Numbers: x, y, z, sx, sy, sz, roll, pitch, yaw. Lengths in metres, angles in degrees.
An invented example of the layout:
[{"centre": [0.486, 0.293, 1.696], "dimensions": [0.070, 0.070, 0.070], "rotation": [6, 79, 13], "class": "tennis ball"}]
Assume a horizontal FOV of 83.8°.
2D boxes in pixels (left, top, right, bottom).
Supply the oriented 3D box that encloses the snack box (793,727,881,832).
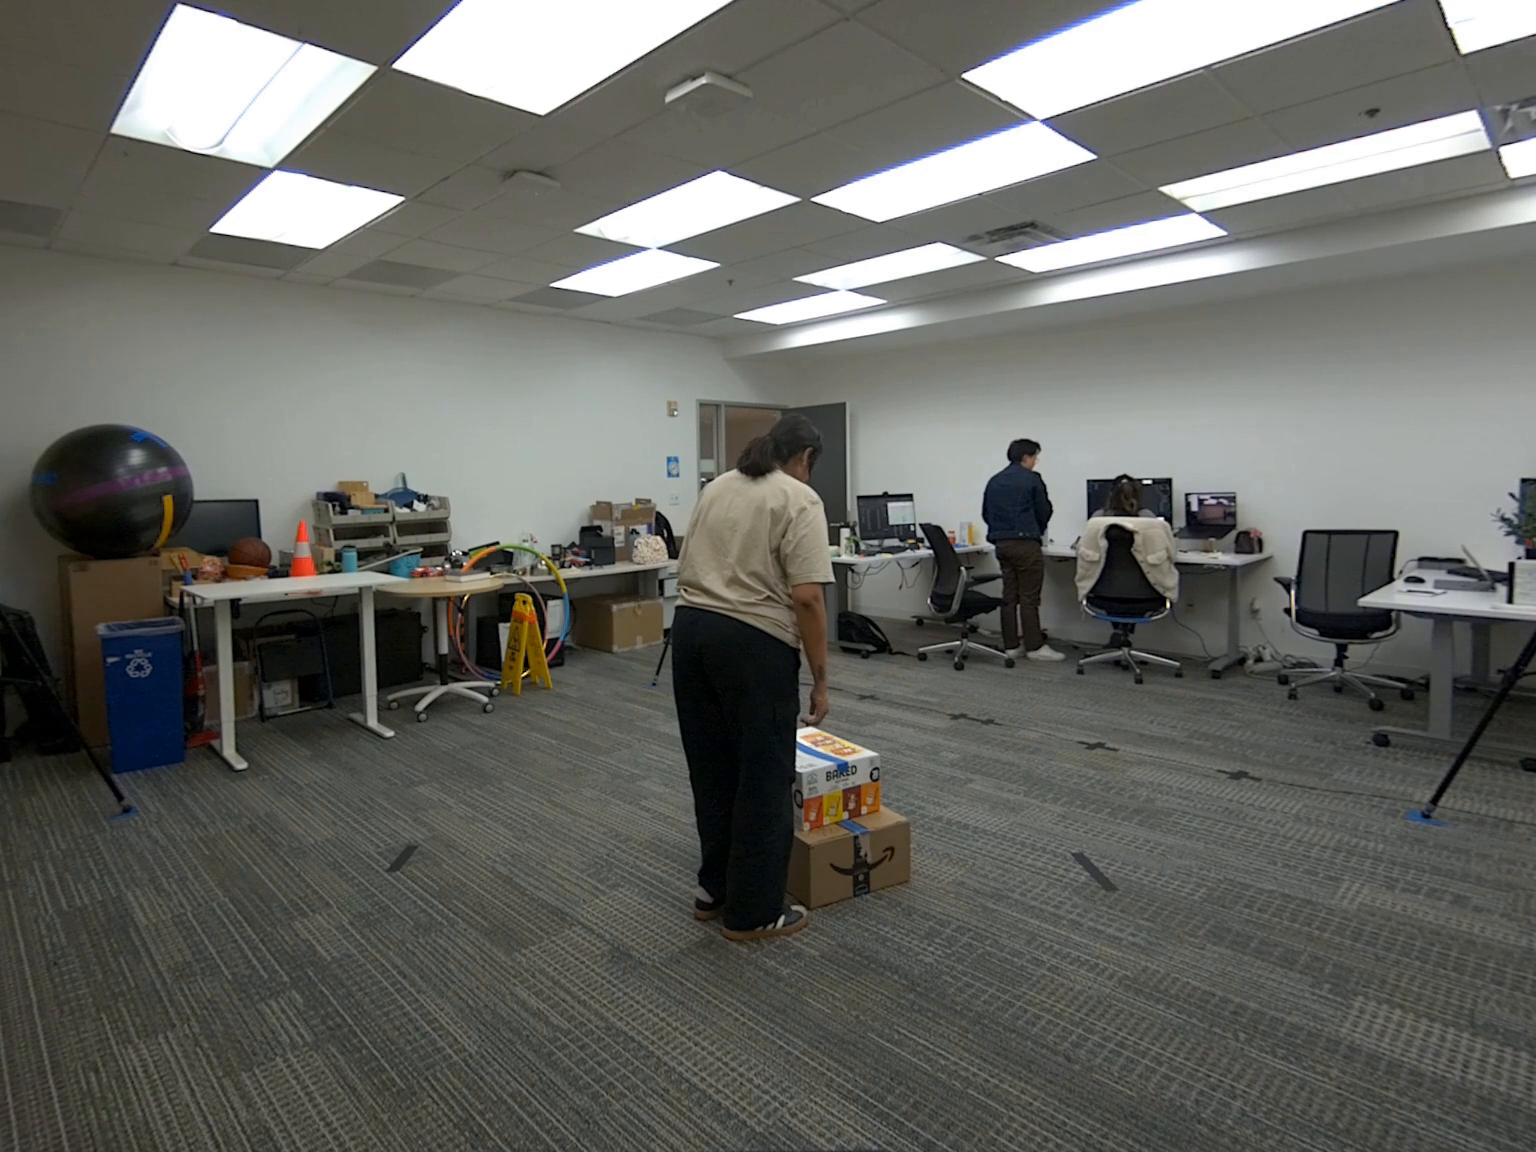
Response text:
[{"centre": [0.143, 0.726, 3.112], "dimensions": [0.332, 0.205, 0.417], "rotation": [-4, 7, -32], "class": "snack box"}]
